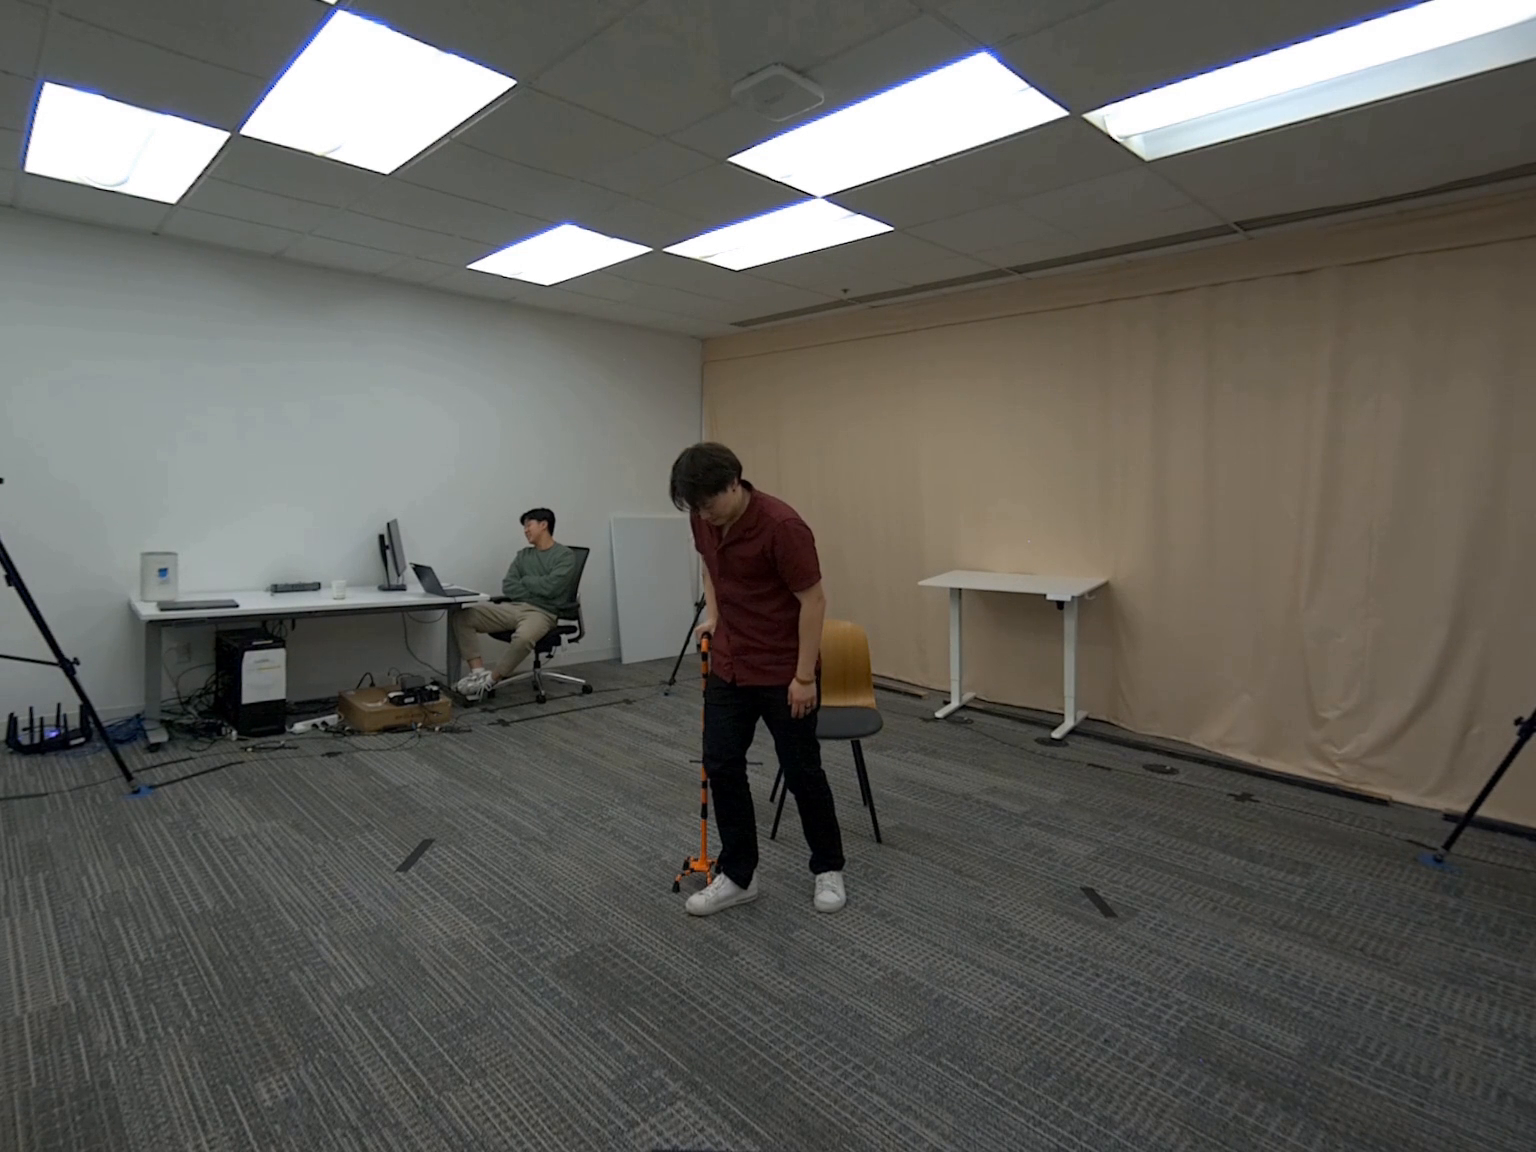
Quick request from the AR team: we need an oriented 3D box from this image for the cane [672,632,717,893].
[{"bbox_3d":[-0.258,0.651,3.026,0.152,0.906,0.206,0,2,5],"label":"cane"}]
